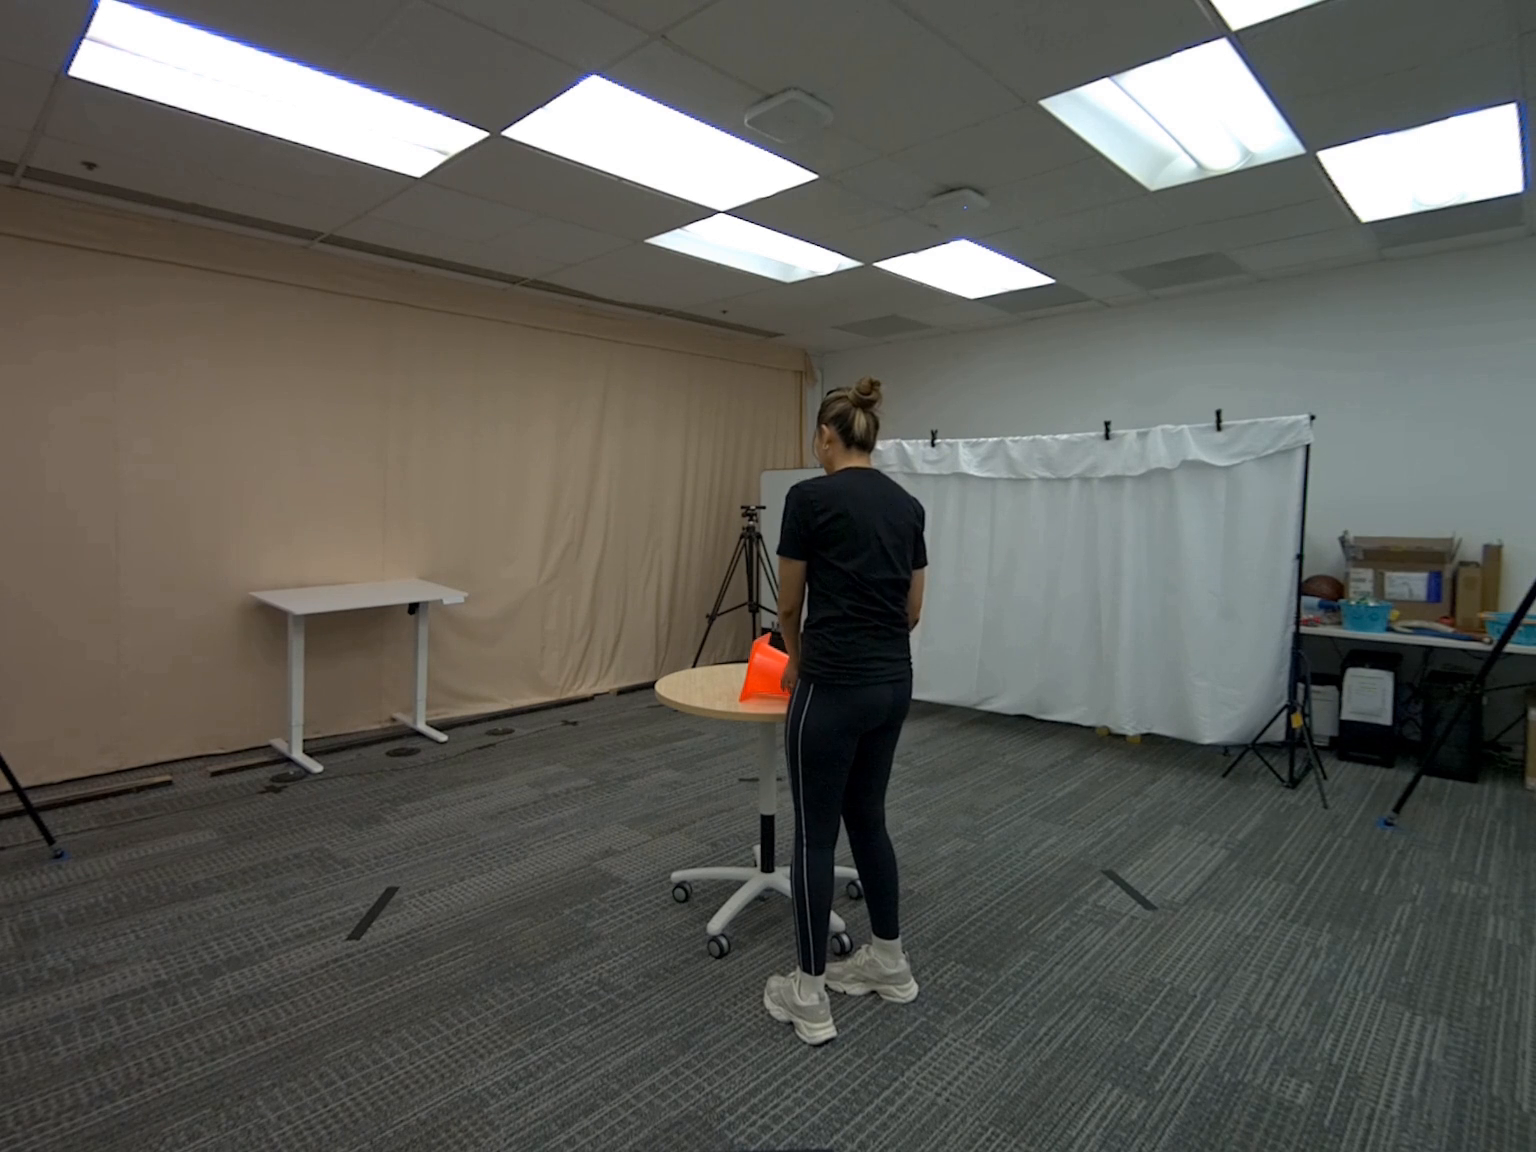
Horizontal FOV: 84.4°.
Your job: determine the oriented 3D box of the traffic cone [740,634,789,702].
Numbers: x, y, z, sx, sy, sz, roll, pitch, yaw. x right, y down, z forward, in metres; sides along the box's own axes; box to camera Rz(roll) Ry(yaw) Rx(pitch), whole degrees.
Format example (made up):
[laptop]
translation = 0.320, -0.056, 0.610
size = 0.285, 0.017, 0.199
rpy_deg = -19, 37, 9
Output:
[traffic cone]
translation = 0.141, 0.342, 2.640
size = 0.390, 0.203, 0.202
rpy_deg = 16, 6, 13
